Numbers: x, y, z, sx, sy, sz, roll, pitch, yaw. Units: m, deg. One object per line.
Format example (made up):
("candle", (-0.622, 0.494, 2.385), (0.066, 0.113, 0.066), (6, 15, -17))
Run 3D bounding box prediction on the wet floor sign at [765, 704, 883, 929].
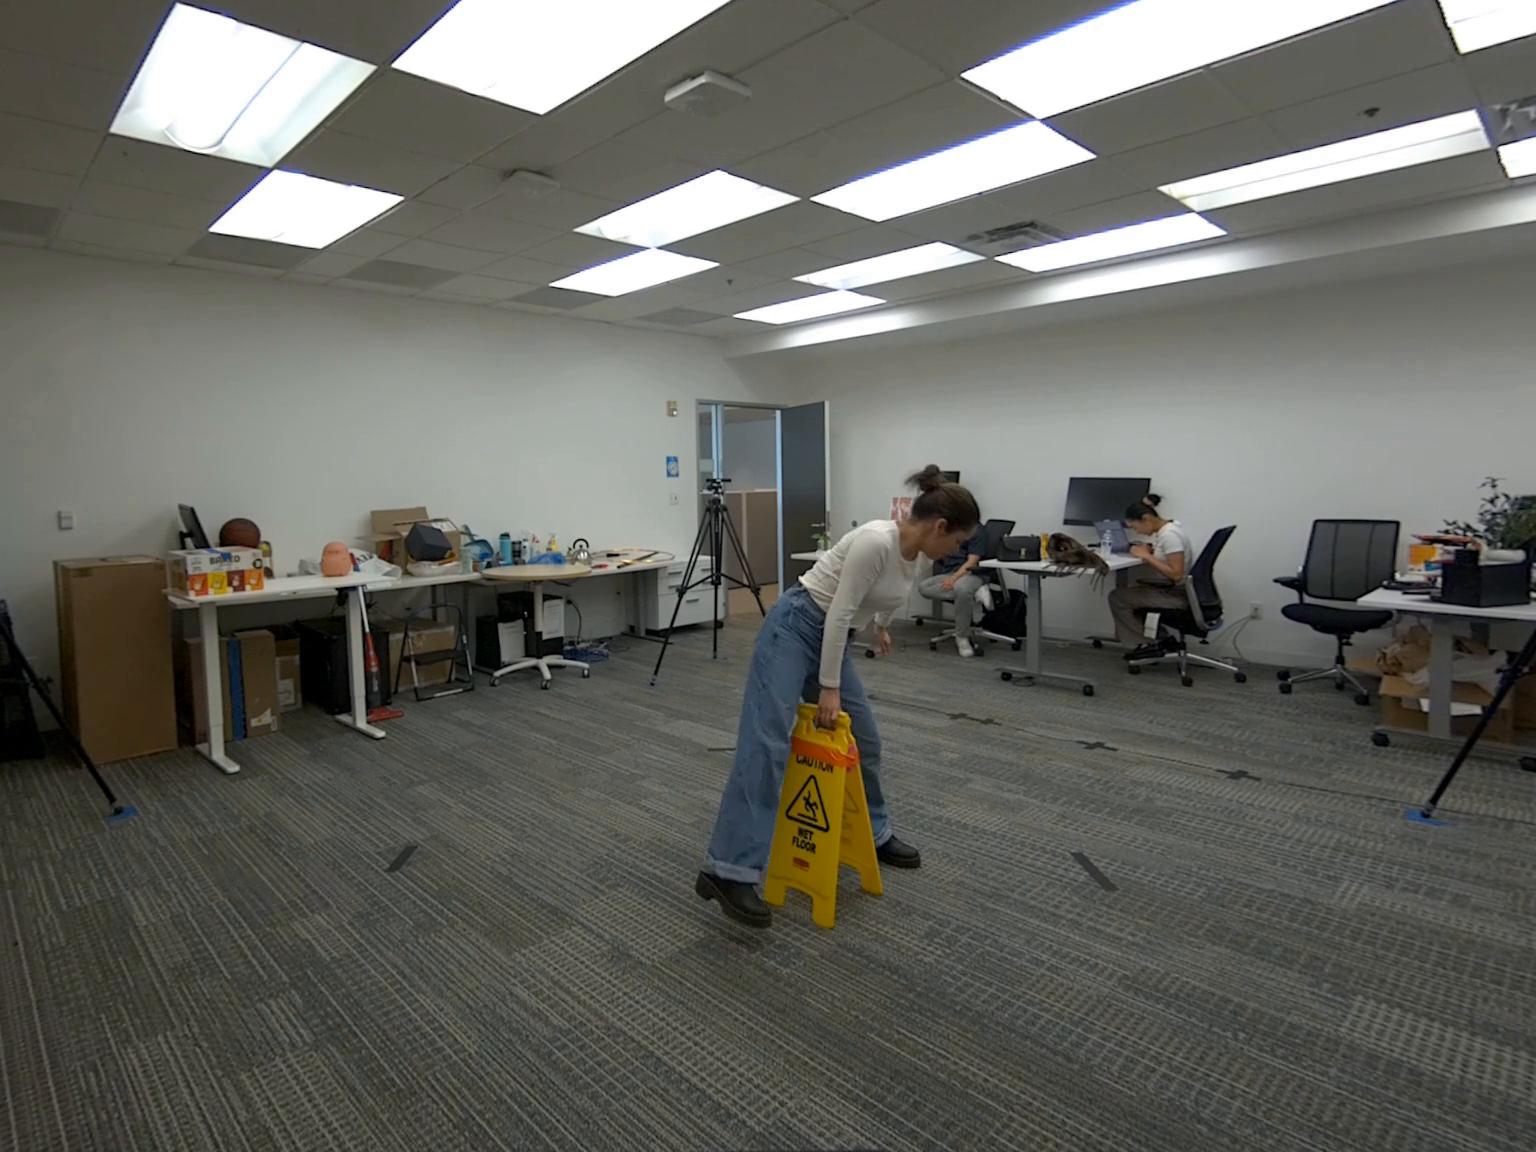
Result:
("wet floor sign", (0.181, 0.754, 2.819), (0.291, 0.643, 0.282), (3, 6, 41))
